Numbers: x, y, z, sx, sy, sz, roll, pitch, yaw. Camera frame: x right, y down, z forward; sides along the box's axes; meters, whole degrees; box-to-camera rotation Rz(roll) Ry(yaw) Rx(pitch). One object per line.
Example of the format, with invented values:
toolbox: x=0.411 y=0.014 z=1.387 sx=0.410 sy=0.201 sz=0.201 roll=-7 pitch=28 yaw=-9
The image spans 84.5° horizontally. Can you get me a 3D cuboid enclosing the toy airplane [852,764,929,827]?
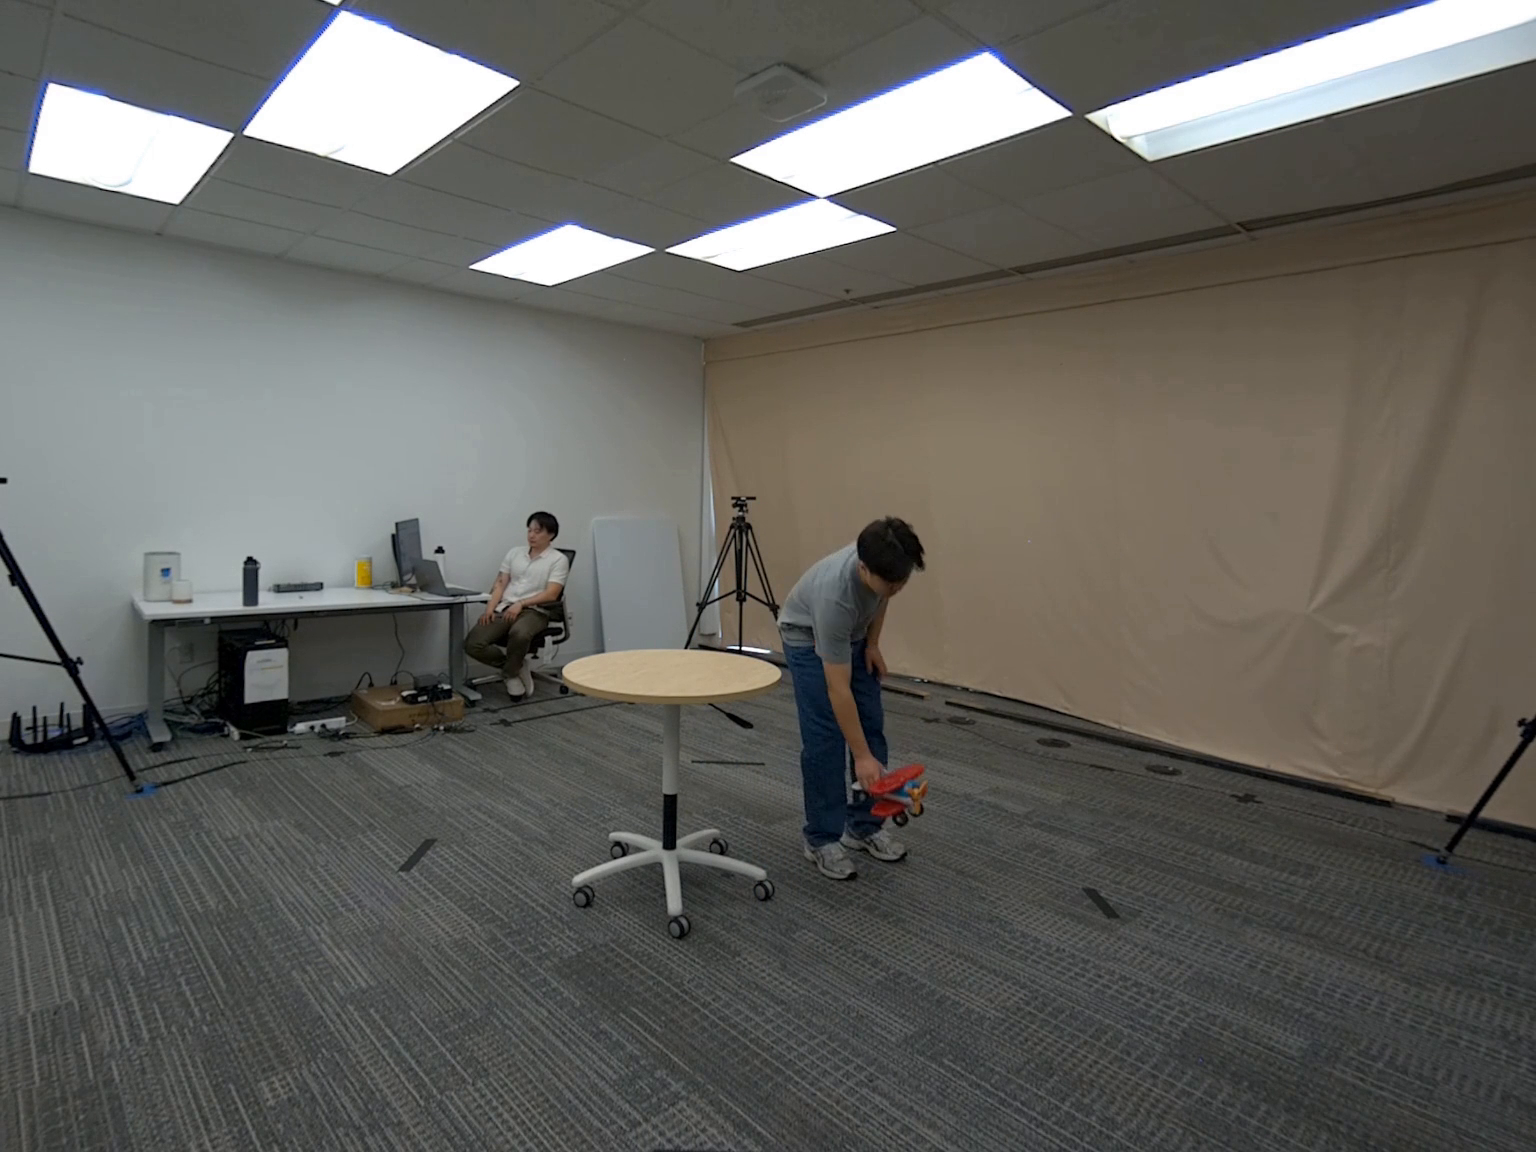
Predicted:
toy airplane: x=0.393 y=0.750 z=2.927 sx=0.263 sy=0.155 sz=0.250 roll=8 pitch=18 yaw=19
